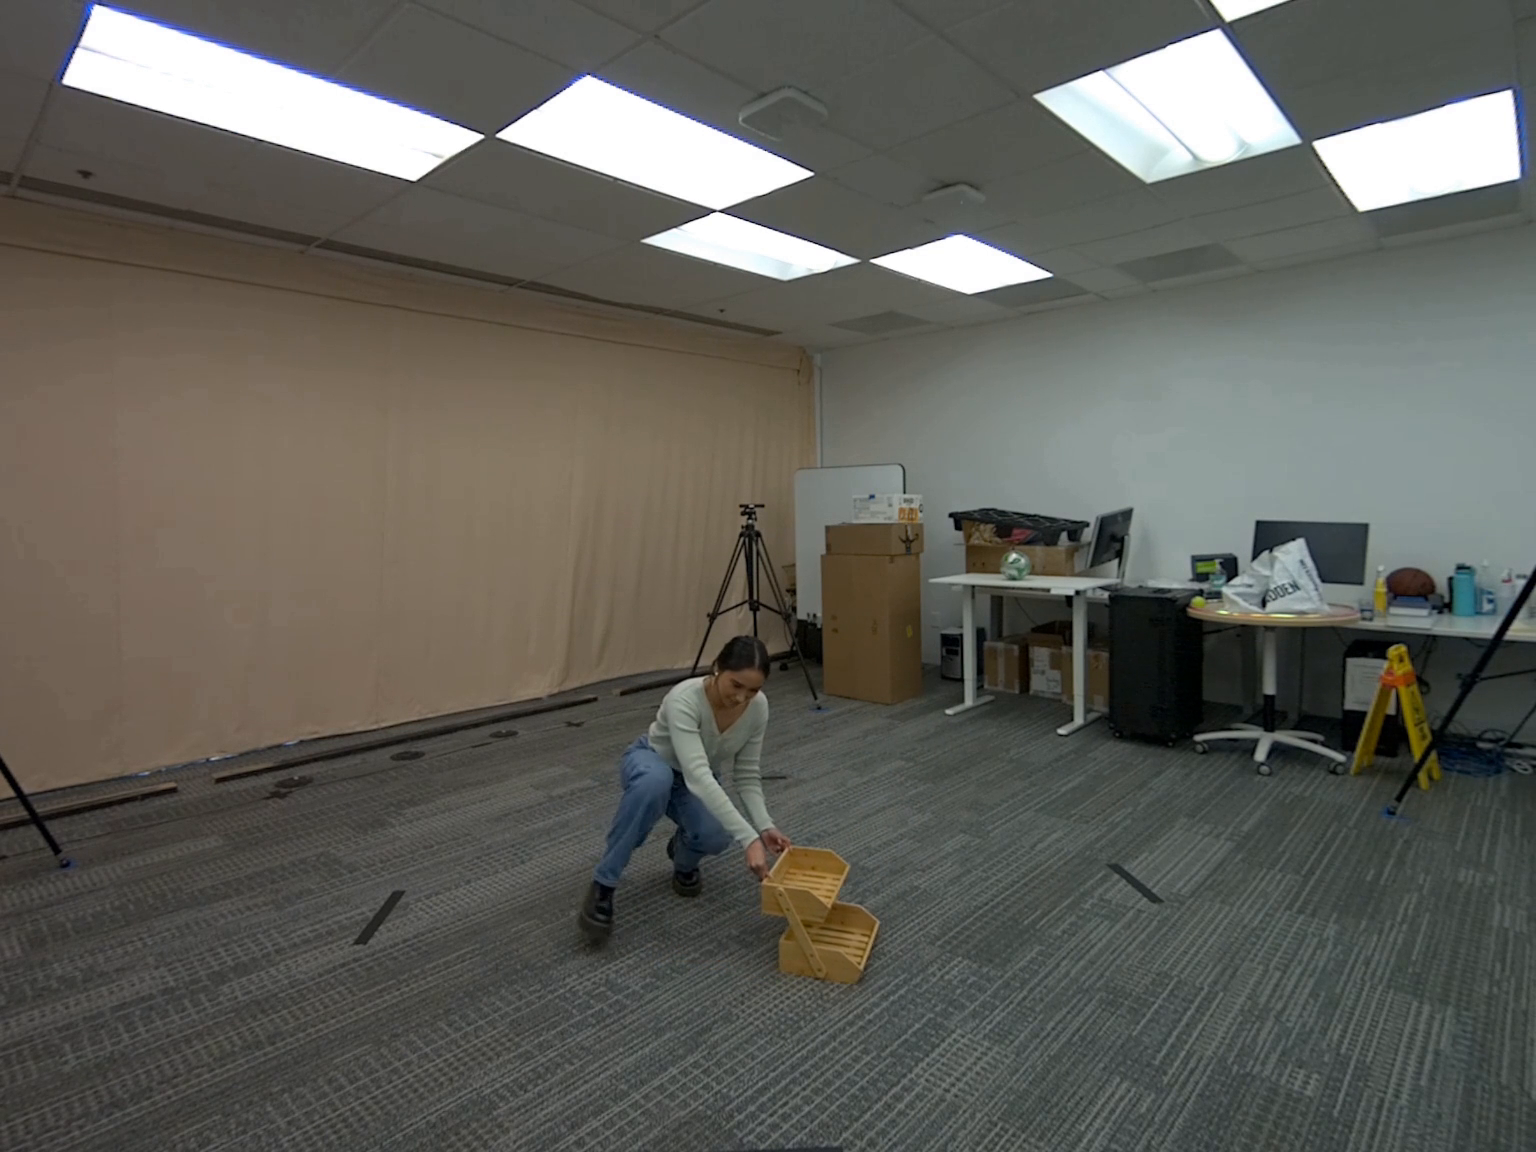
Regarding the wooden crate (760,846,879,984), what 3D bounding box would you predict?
[{"bbox_3d":[0.175,1.036,2.610,0.308,0.273,0.319,-1,3,18],"label":"wooden crate"}]
